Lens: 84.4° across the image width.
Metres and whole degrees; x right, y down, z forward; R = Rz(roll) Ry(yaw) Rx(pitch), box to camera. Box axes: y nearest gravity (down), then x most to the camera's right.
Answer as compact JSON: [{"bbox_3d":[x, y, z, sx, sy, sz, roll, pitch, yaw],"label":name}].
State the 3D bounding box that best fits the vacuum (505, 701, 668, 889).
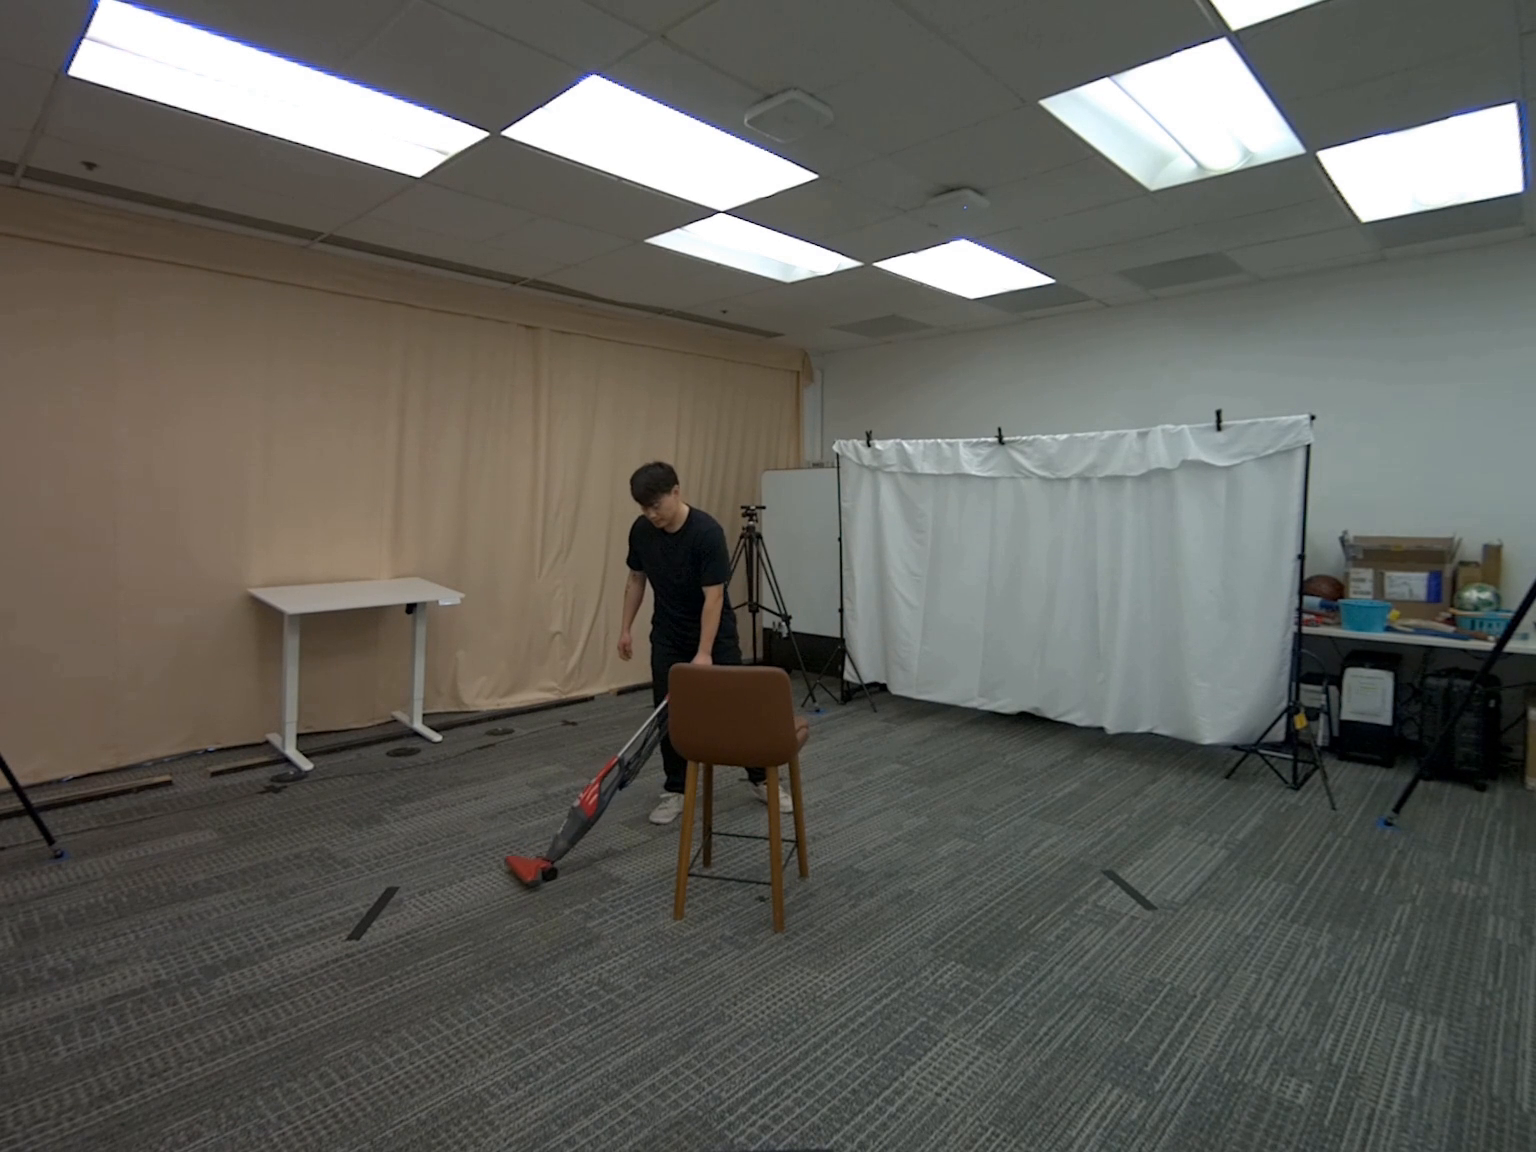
[{"bbox_3d":[-0.575,0.754,3.366,1.044,0.140,0.260,-49,28,-23],"label":"vacuum"}]
